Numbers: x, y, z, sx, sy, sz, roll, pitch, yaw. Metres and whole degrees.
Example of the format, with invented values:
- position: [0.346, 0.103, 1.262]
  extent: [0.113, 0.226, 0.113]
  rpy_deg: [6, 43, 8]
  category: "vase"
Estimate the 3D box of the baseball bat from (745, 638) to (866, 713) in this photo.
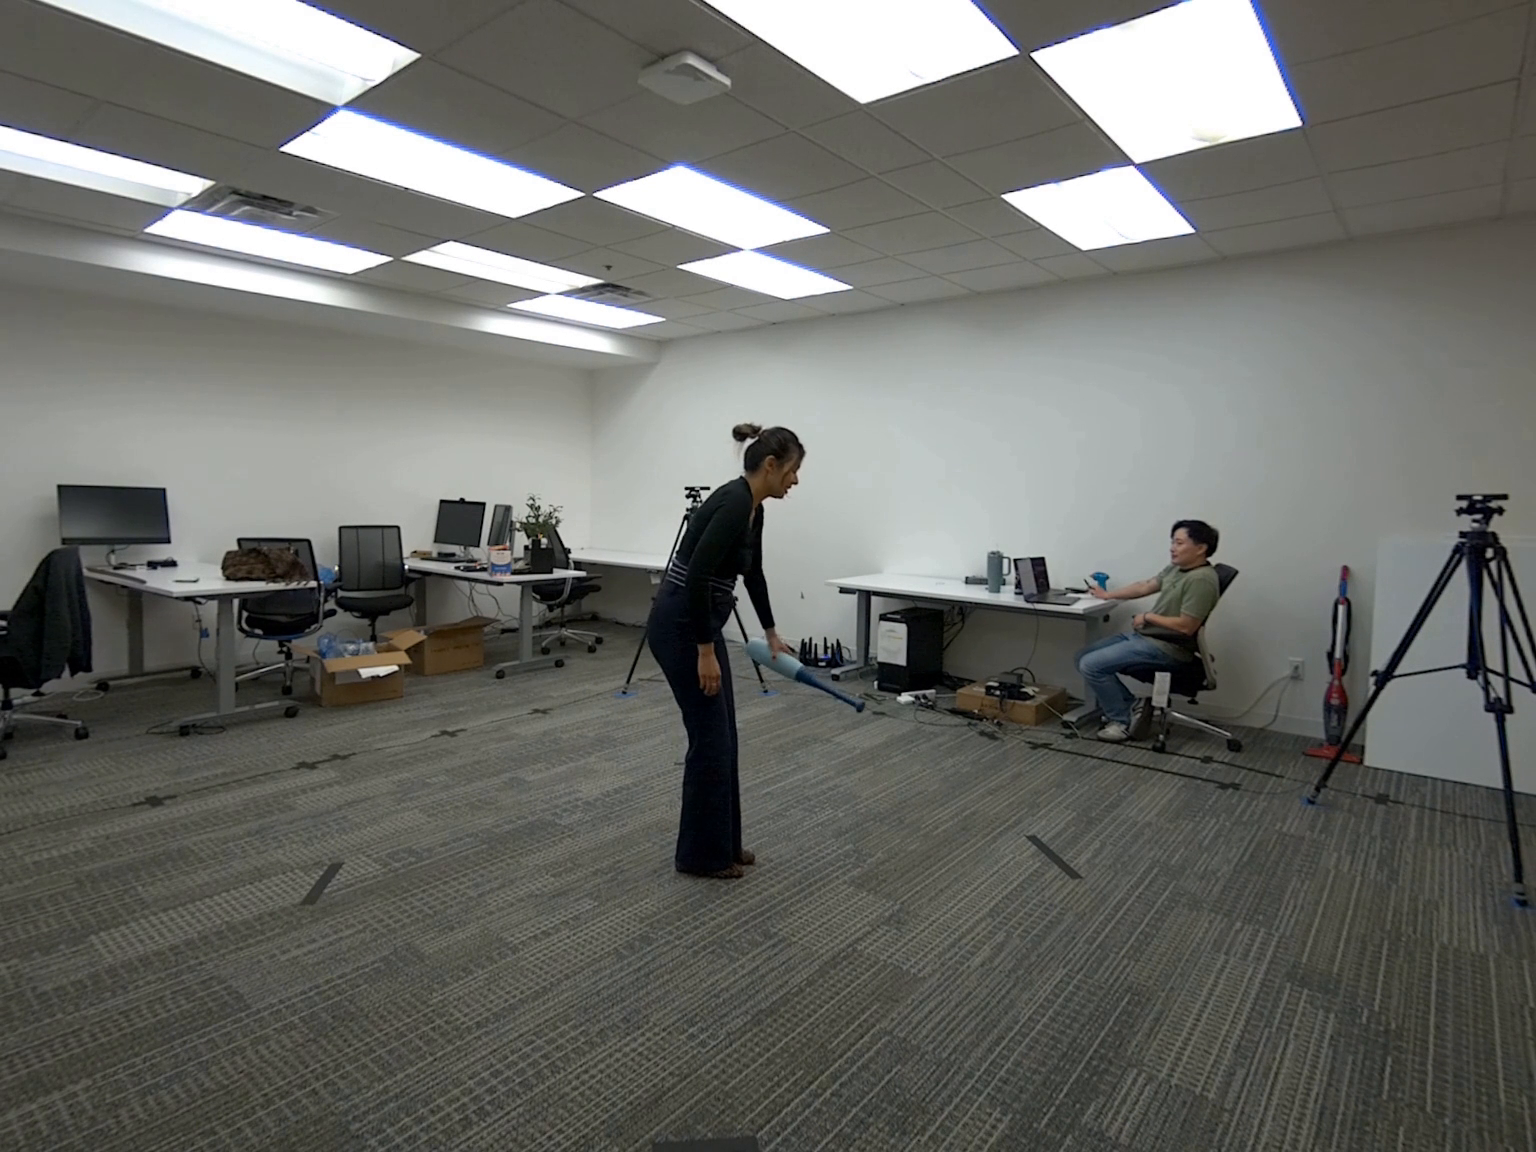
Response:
- position: [0.121, 0.405, 3.365]
  extent: [0.563, 0.088, 0.086]
  rpy_deg: [26, 16, 29]
  category: "baseball bat"
